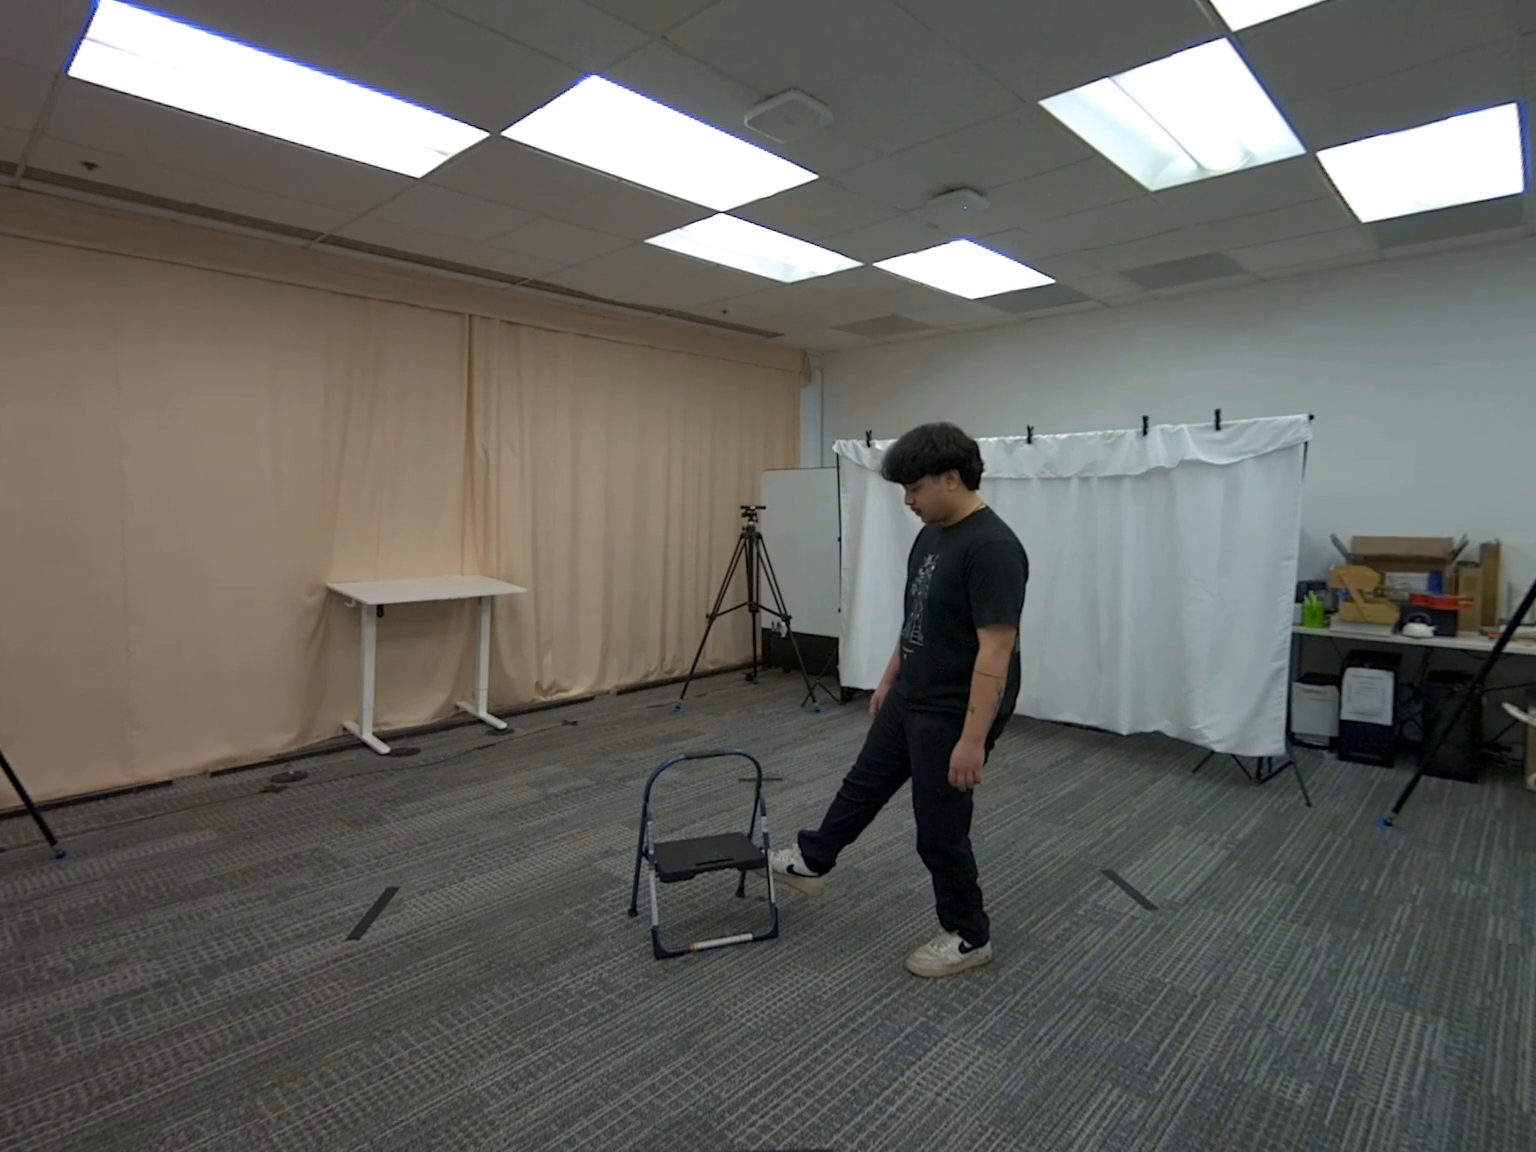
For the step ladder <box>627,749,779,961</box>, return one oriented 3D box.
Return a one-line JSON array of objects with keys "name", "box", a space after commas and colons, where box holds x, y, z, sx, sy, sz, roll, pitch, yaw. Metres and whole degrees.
[{"name": "step ladder", "box": [-0.219, 0.859, 2.788, 0.421, 0.605, 0.357, -2, 3, -22]}]
